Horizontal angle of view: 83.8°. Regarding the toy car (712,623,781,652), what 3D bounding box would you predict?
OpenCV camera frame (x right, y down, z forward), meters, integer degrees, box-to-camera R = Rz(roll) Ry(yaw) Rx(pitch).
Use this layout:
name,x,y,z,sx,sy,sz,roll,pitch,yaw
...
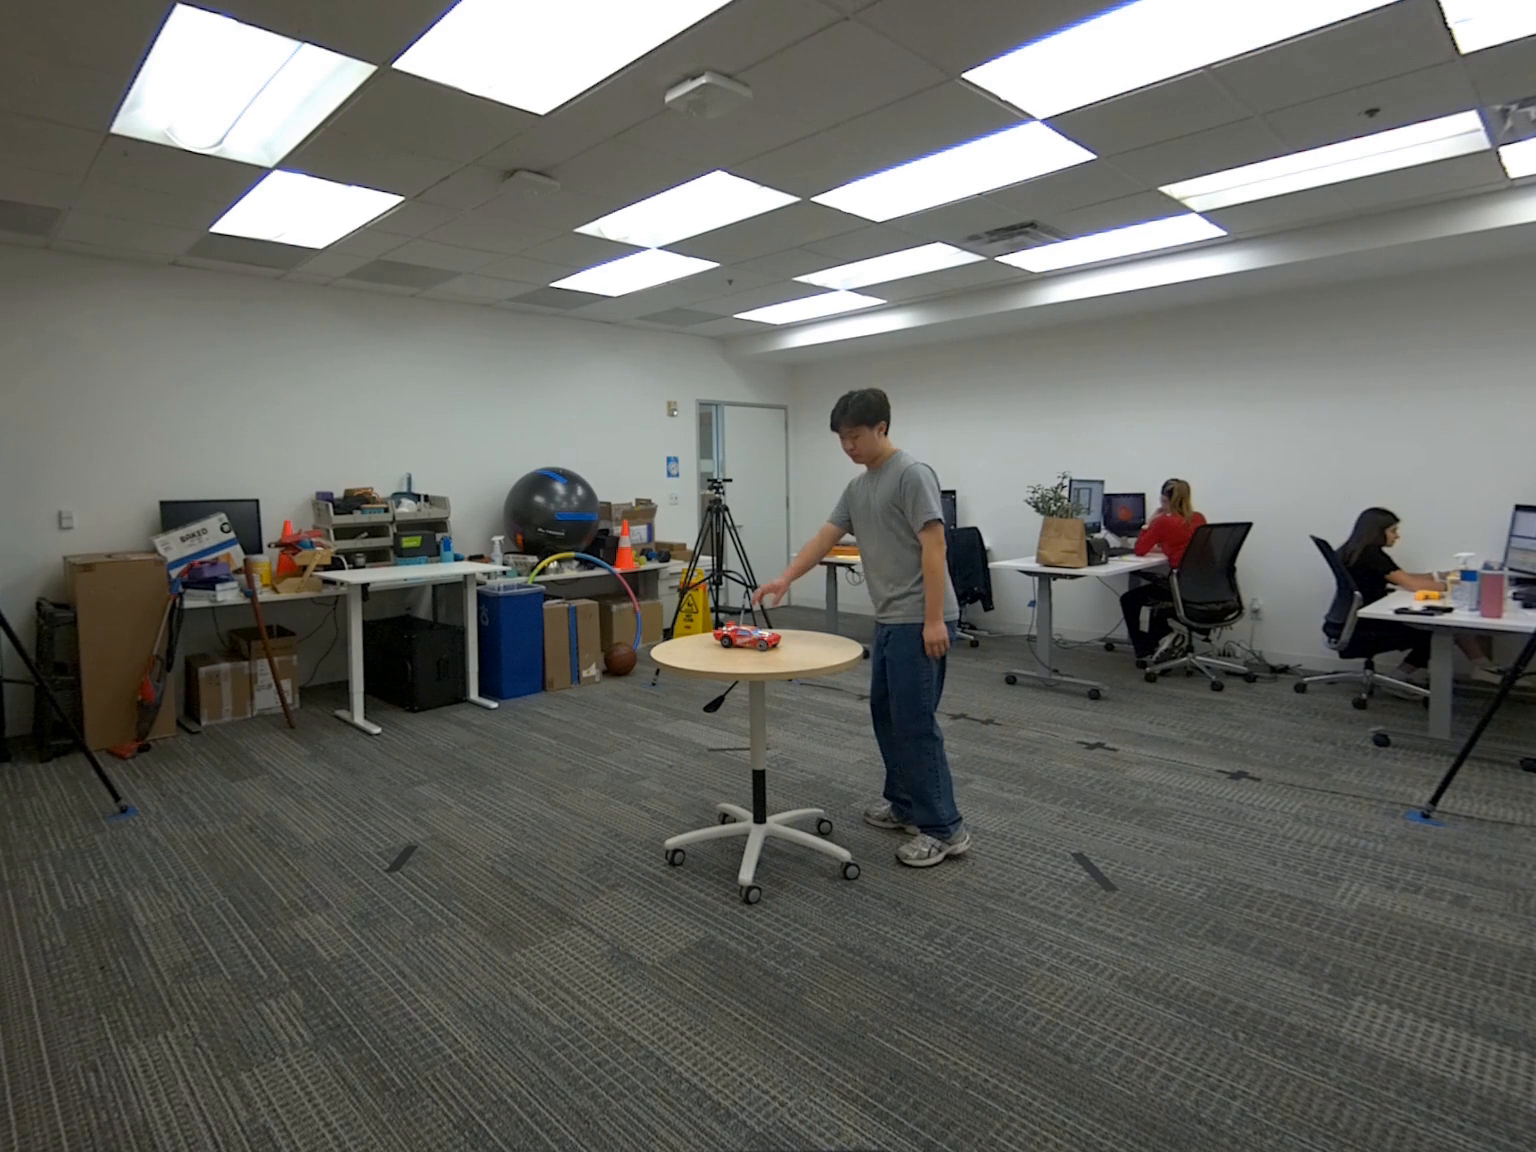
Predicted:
name,x,y,z,sx,sy,sz,roll,pitch,yaw
toy car,-0.080,0.226,3.134,0.262,0.082,0.127,14,12,27
